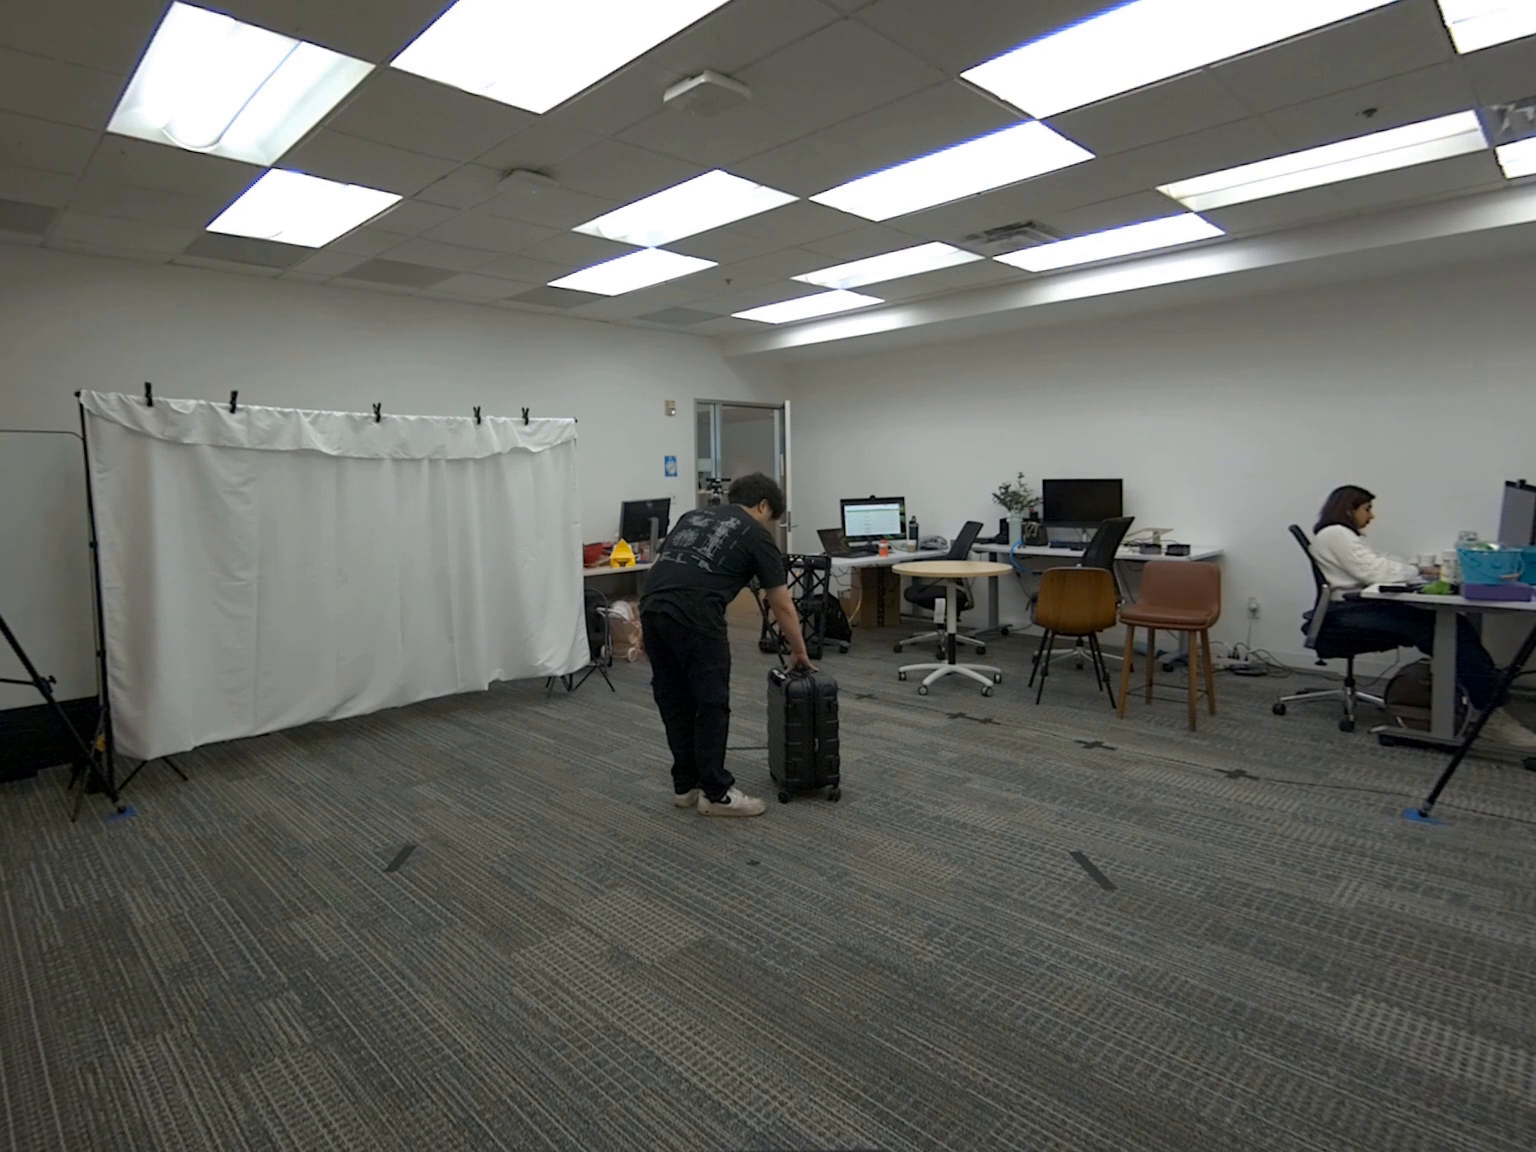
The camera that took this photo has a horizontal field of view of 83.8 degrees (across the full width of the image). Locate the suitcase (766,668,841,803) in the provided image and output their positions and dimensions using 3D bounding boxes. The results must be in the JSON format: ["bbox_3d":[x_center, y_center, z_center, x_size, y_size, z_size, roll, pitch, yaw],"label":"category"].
[{"bbox_3d":[0.154,0.681,3.836,0.245,0.548,0.381,-2,4,-13],"label":"suitcase"}]
